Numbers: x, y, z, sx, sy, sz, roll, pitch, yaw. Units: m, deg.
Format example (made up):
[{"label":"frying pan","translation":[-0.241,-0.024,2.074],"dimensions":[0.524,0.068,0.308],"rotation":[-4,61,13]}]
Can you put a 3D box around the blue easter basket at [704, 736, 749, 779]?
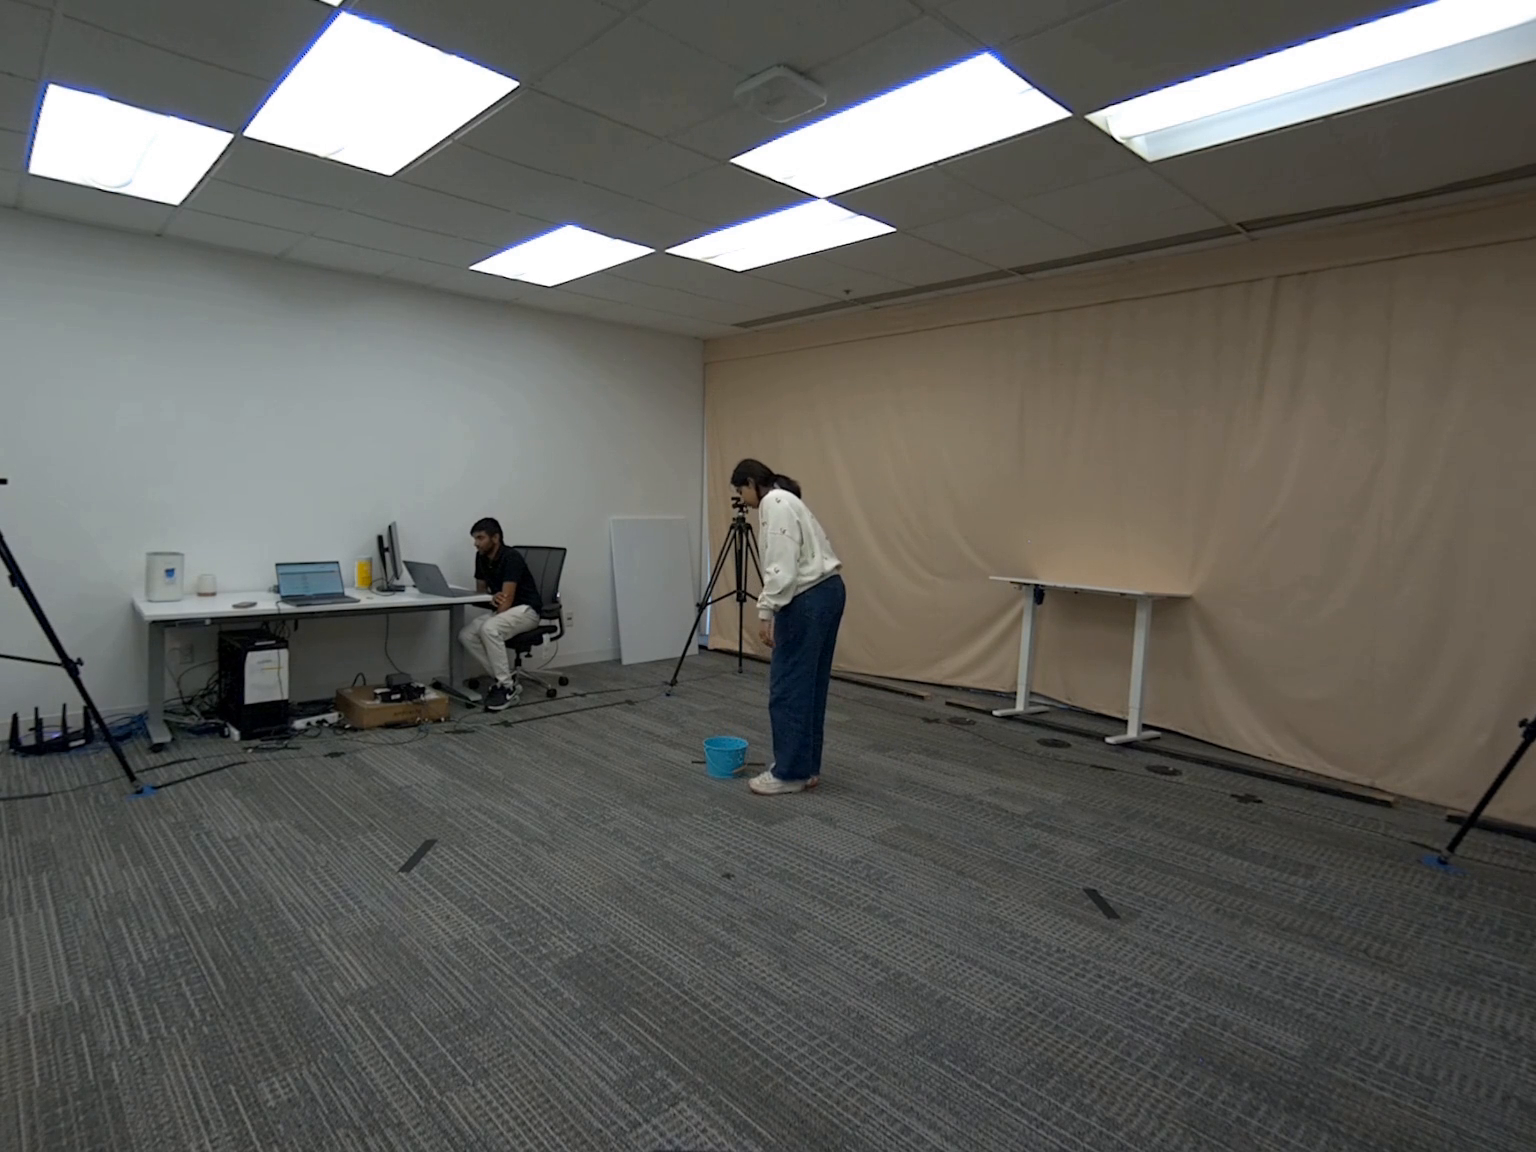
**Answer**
[{"label":"blue easter basket","translation":[-0.229,0.918,4.289],"dimensions":[0.243,0.155,0.244],"rotation":[1,4,-1]}]
